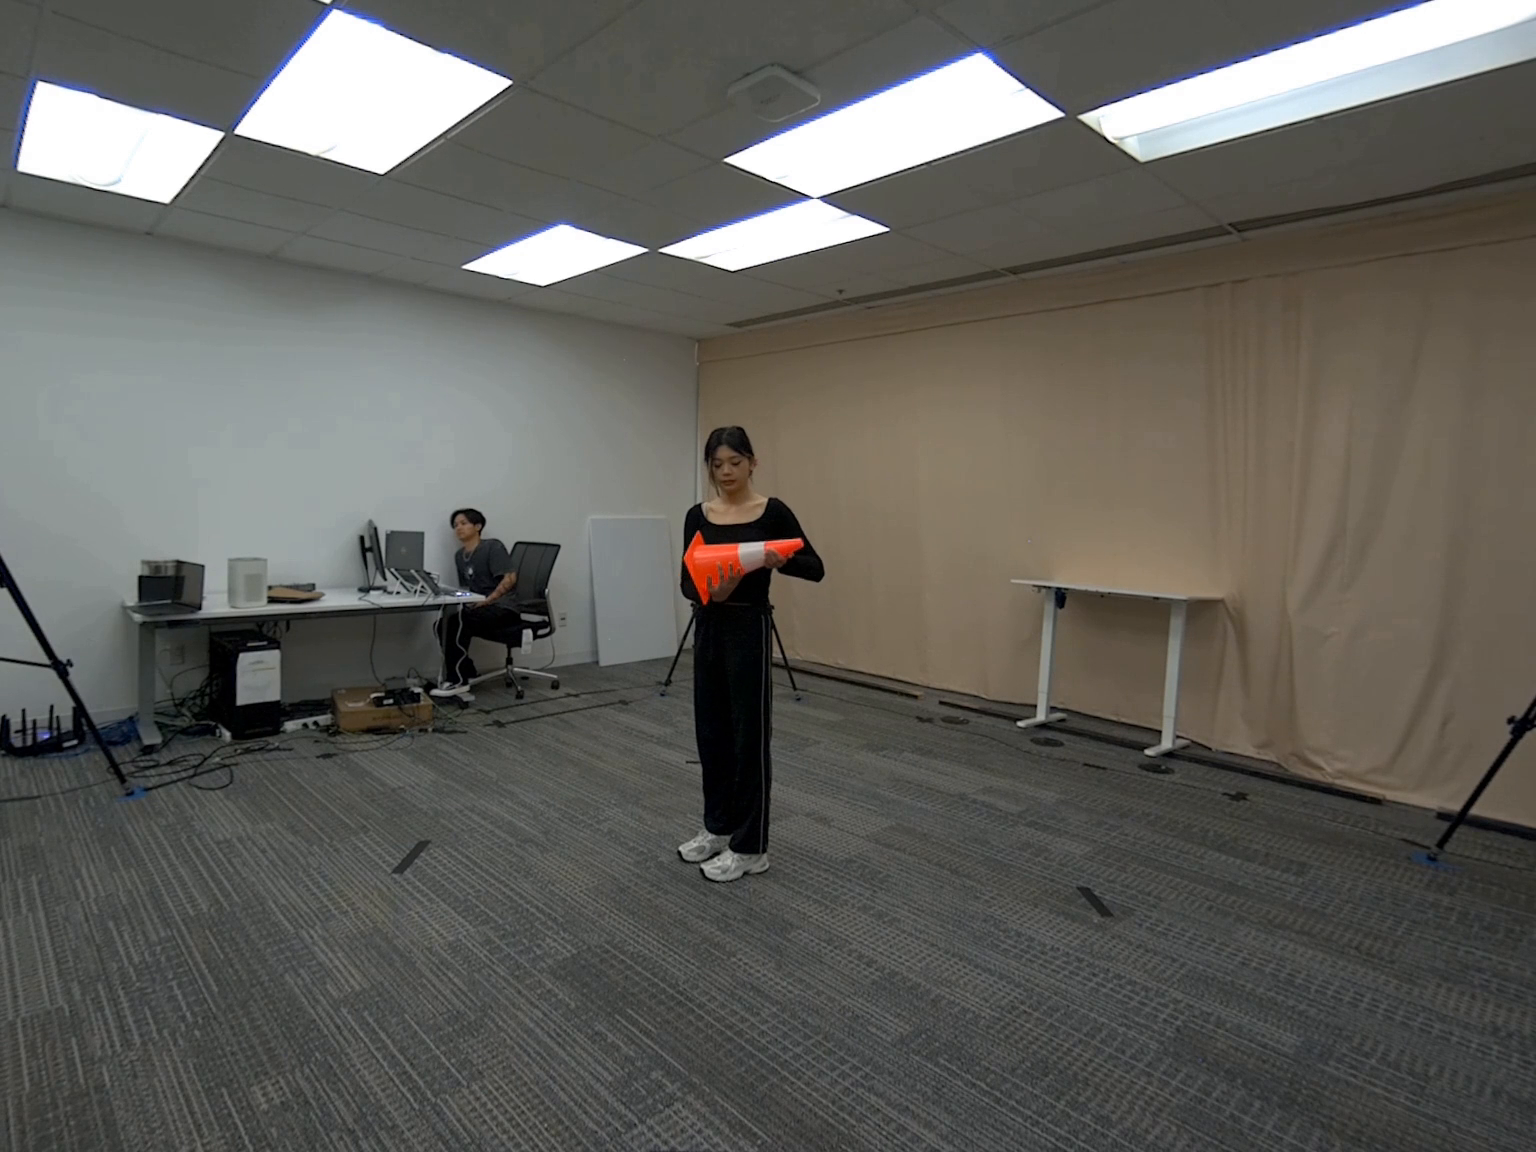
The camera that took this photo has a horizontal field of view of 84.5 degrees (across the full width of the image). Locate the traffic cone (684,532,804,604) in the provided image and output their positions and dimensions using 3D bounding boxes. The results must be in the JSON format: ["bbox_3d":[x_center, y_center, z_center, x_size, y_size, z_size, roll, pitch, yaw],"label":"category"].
[{"bbox_3d":[-0.065,-0.066,2.890,0.388,0.198,0.207,-13,29,21],"label":"traffic cone"}]
